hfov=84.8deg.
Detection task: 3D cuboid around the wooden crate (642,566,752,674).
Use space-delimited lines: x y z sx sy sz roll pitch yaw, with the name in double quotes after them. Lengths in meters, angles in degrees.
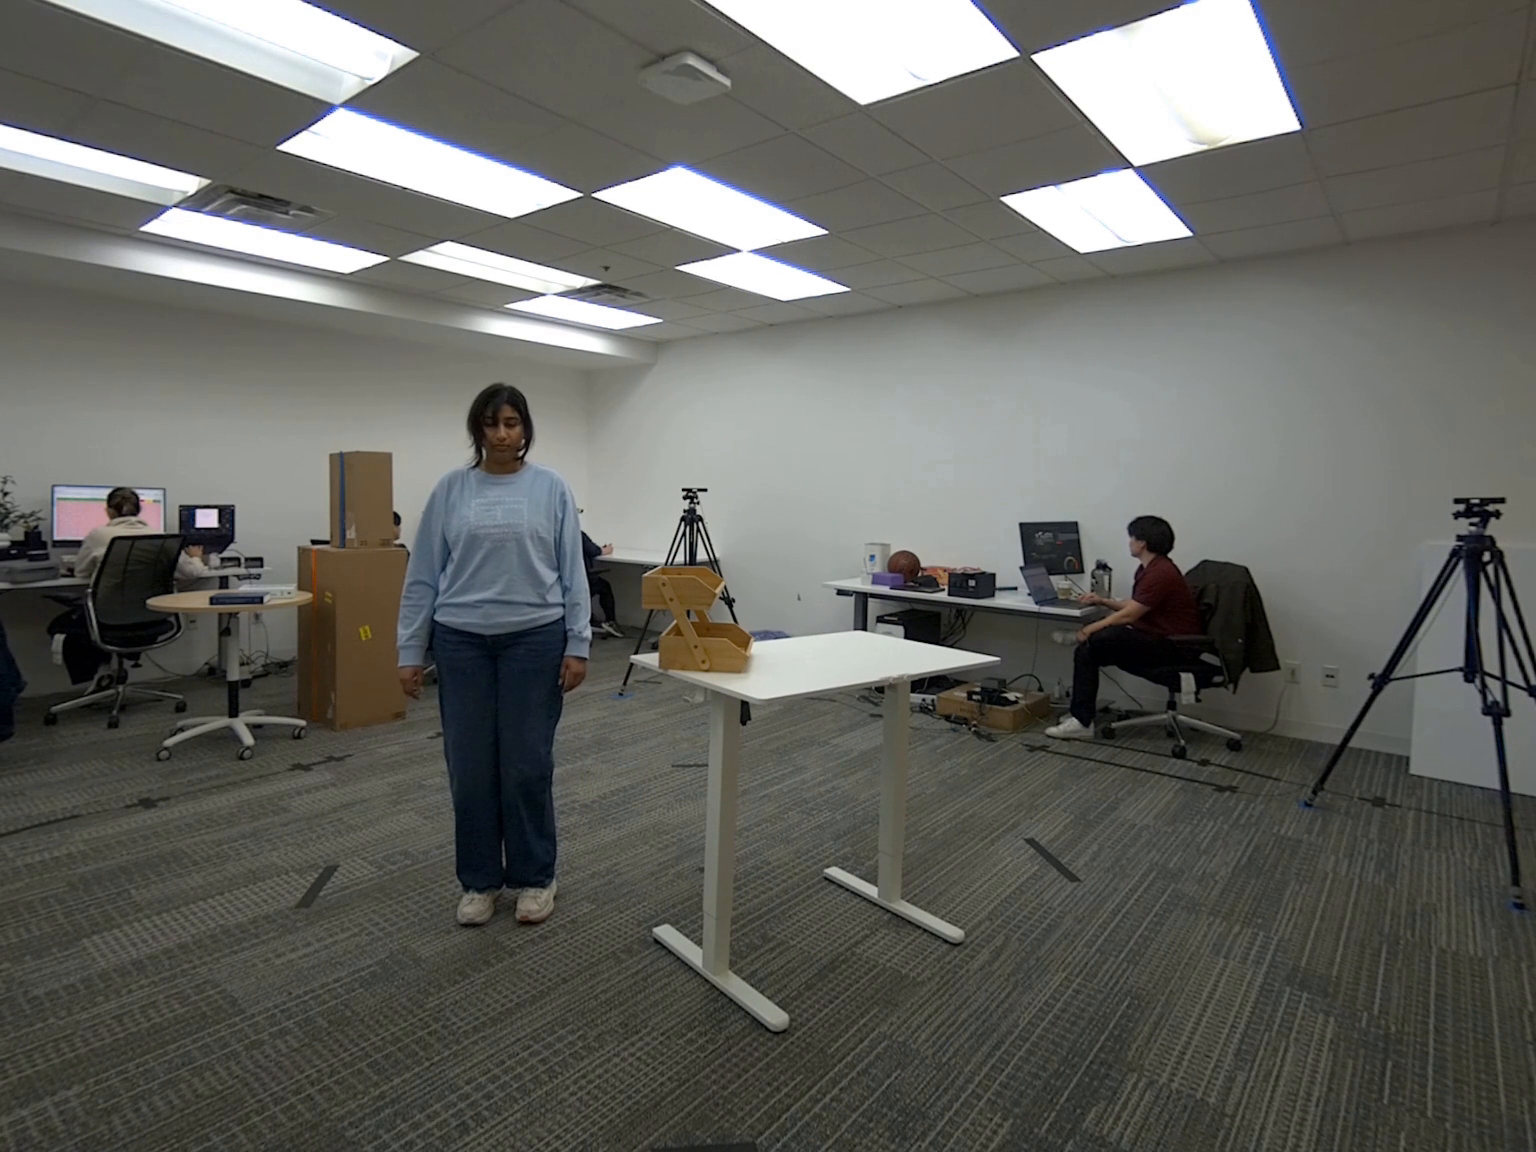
-0.192 0.114 2.481 0.304 0.272 0.324 2 4 4 "wooden crate"
